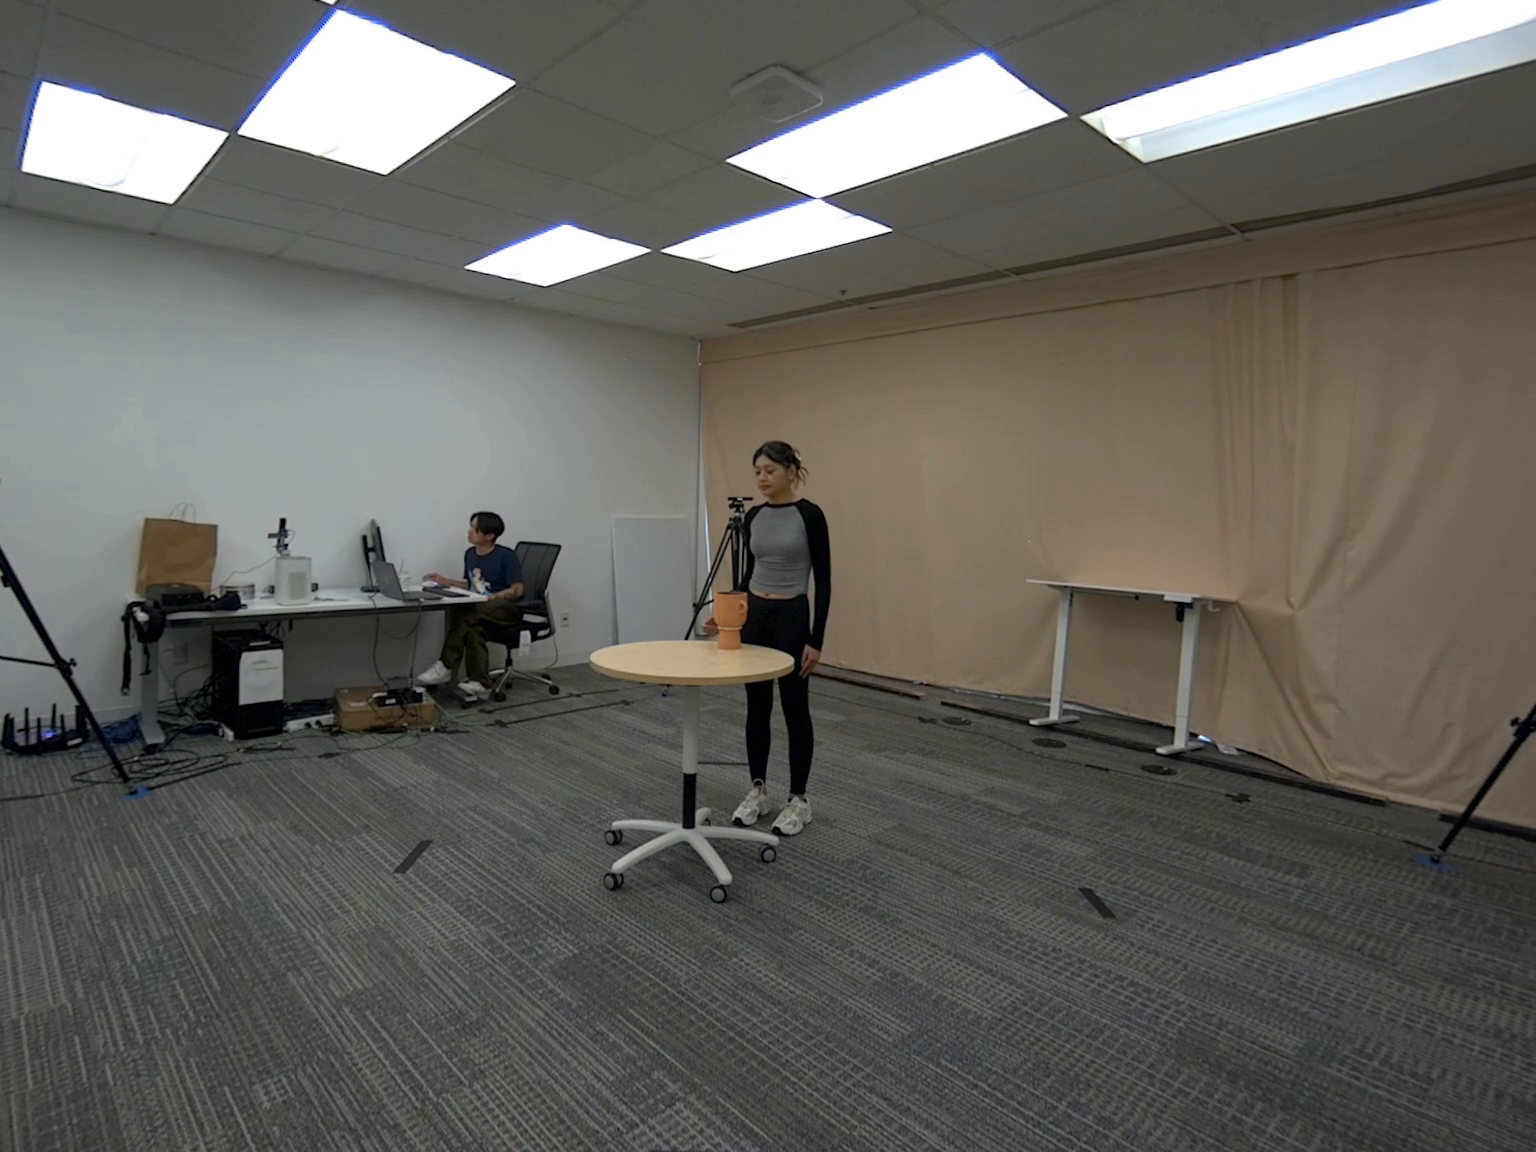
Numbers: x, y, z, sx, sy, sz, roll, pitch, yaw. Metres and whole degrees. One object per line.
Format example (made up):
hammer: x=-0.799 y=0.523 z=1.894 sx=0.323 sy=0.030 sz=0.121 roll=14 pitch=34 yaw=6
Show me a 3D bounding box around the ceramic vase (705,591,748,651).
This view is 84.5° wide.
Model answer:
ceramic vase: x=-0.163 y=0.180 z=3.399 sx=0.134 sy=0.219 sz=0.159 roll=0 pitch=4 yaw=-2
